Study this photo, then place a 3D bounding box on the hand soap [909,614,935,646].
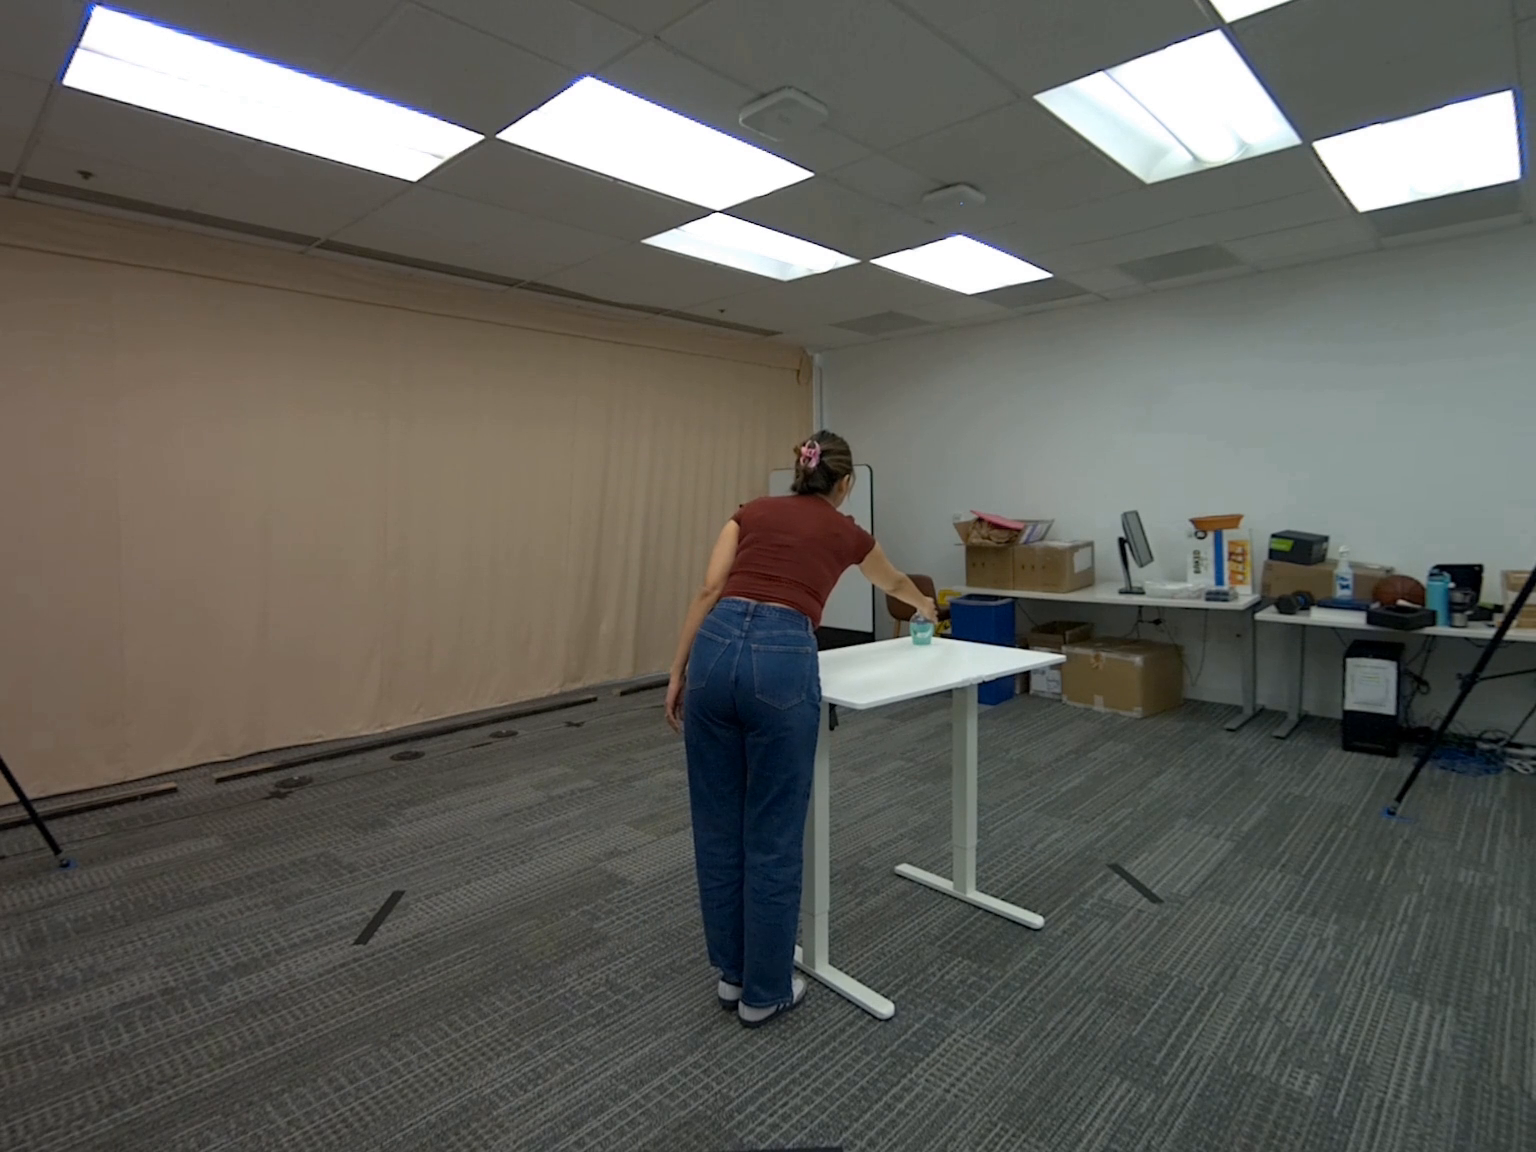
[{"bbox_3d":[0.554,0.164,3.009,0.084,0.168,0.043,-3,3,-1],"label":"hand soap"}]
